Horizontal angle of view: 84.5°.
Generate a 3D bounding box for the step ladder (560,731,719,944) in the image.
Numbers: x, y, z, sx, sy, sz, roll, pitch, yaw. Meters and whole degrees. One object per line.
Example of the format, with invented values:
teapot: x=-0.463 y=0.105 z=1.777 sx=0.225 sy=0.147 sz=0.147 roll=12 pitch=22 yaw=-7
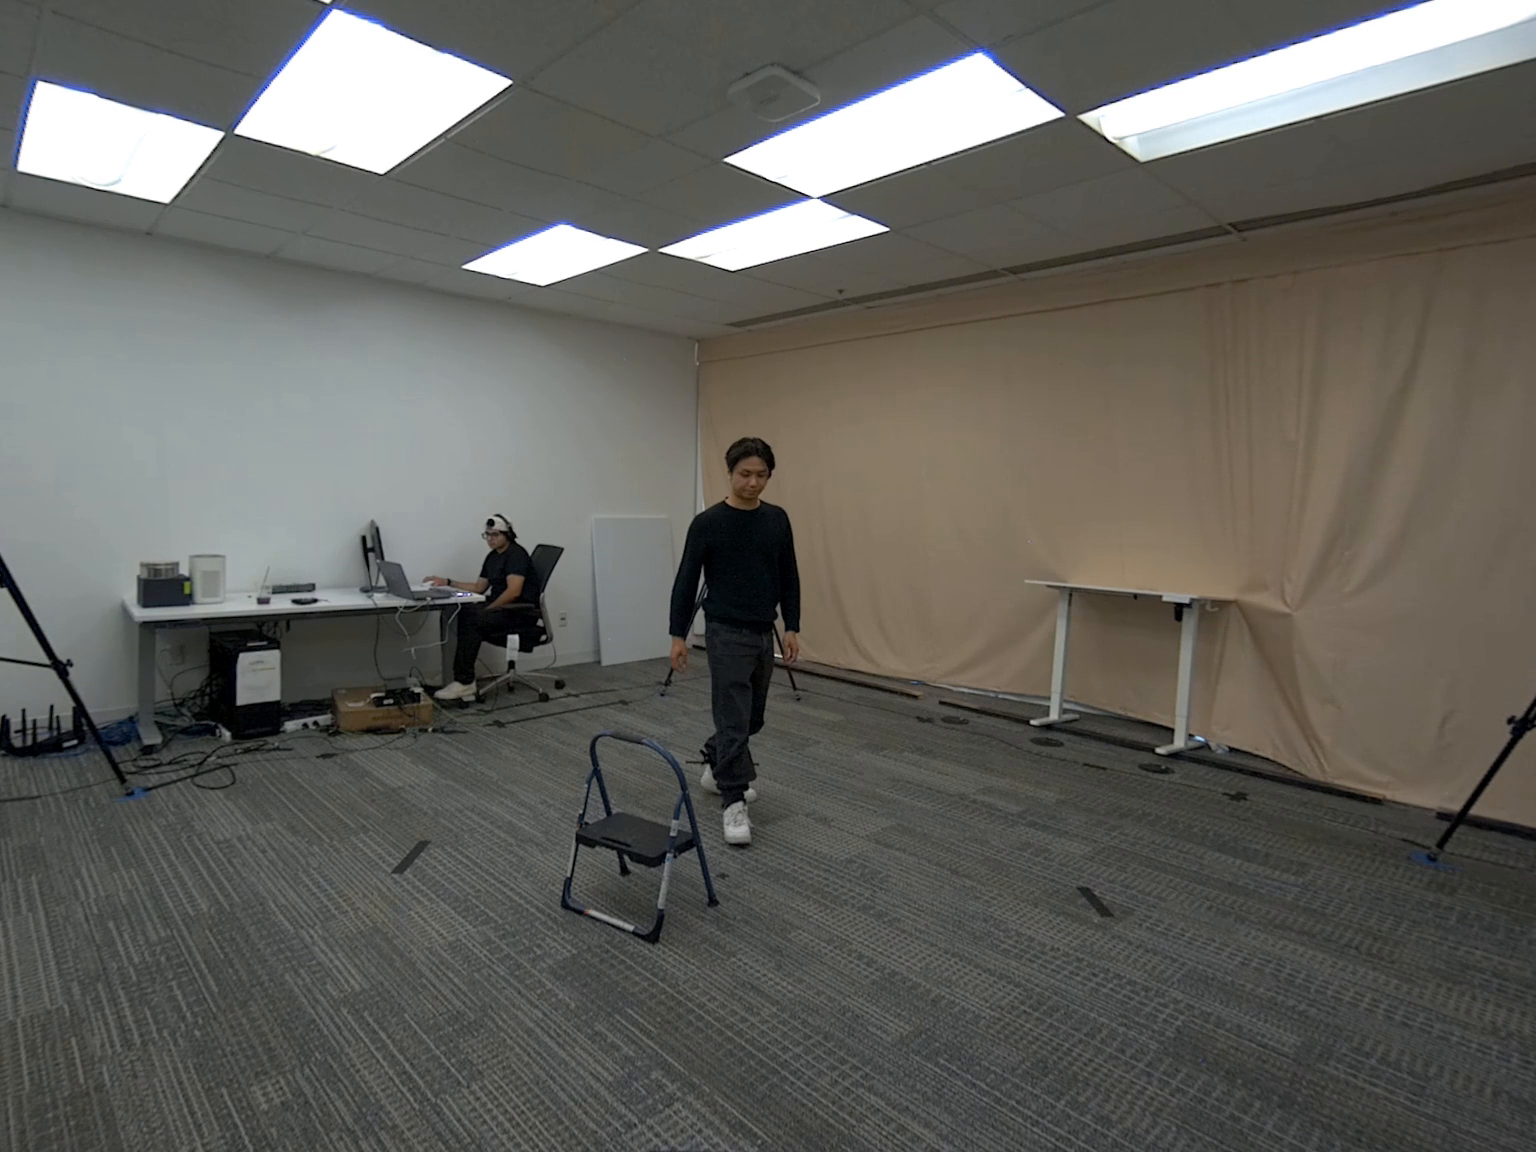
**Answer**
step ladder: x=-0.438 y=0.822 z=2.848 sx=0.440 sy=0.605 sz=0.342 roll=3 pitch=4 yaw=32
